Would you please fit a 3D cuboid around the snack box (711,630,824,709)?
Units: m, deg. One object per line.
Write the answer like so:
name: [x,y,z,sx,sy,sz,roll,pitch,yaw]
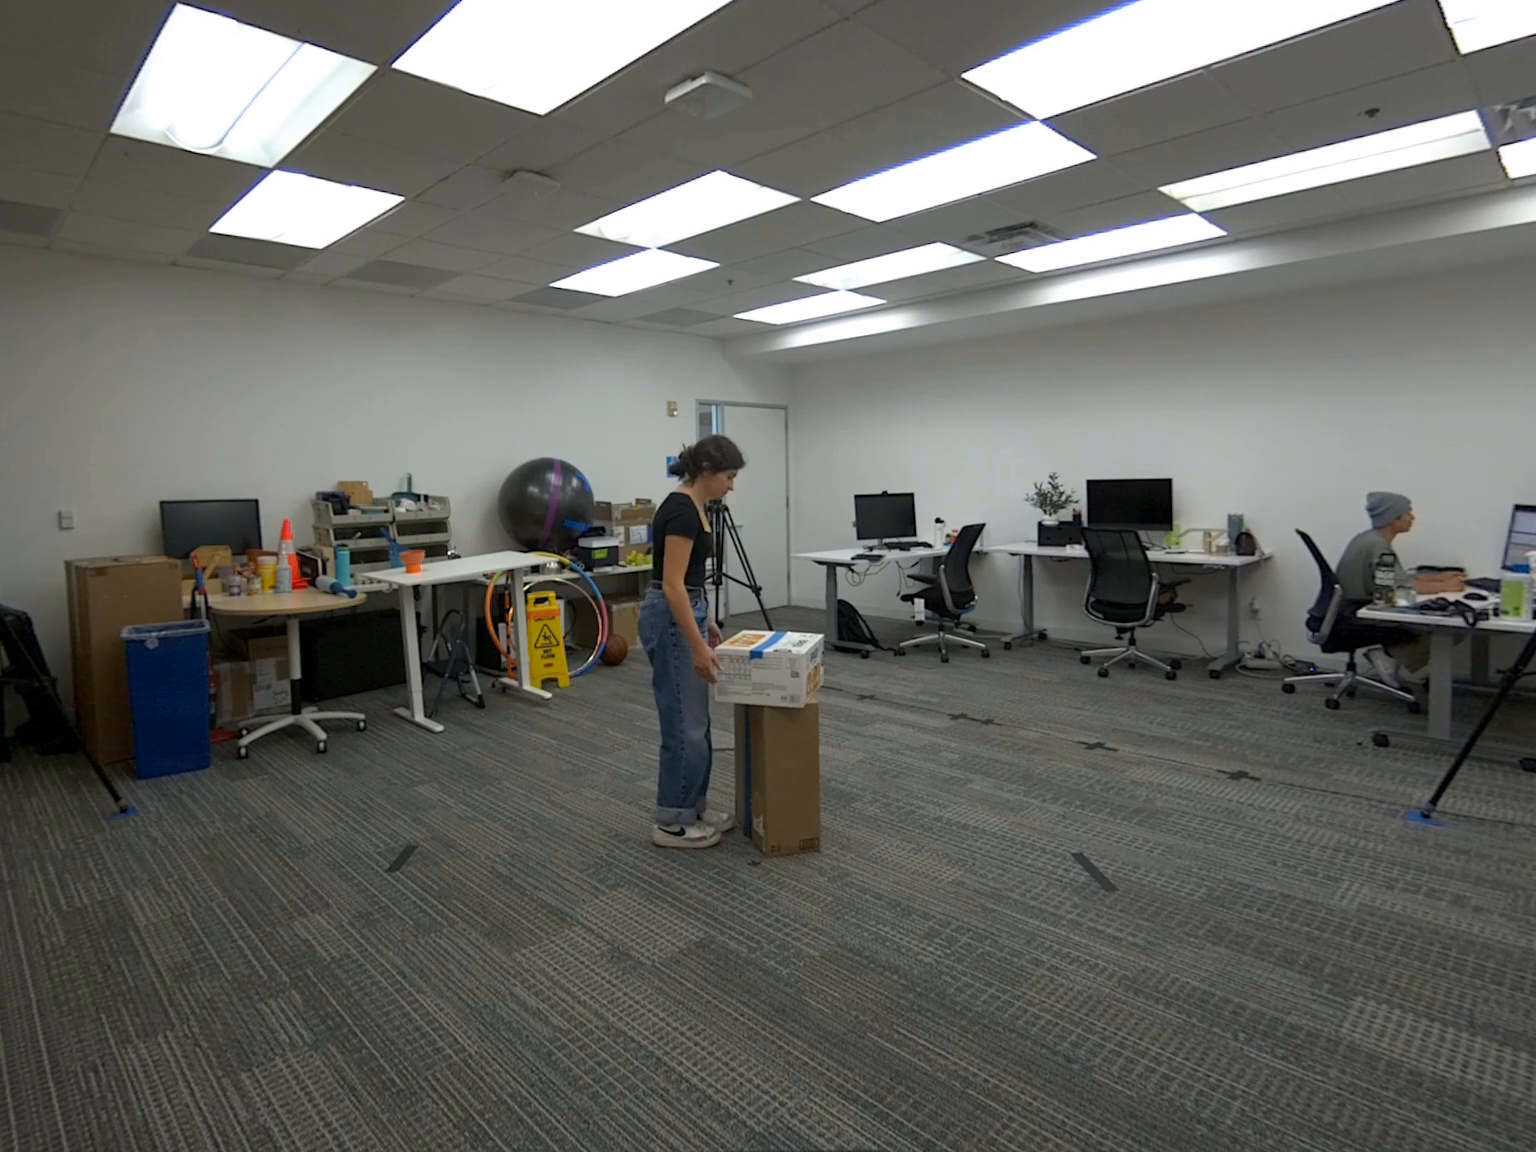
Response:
snack box: [0.010,0.351,3.310,0.346,0.205,0.400,1,6,16]
